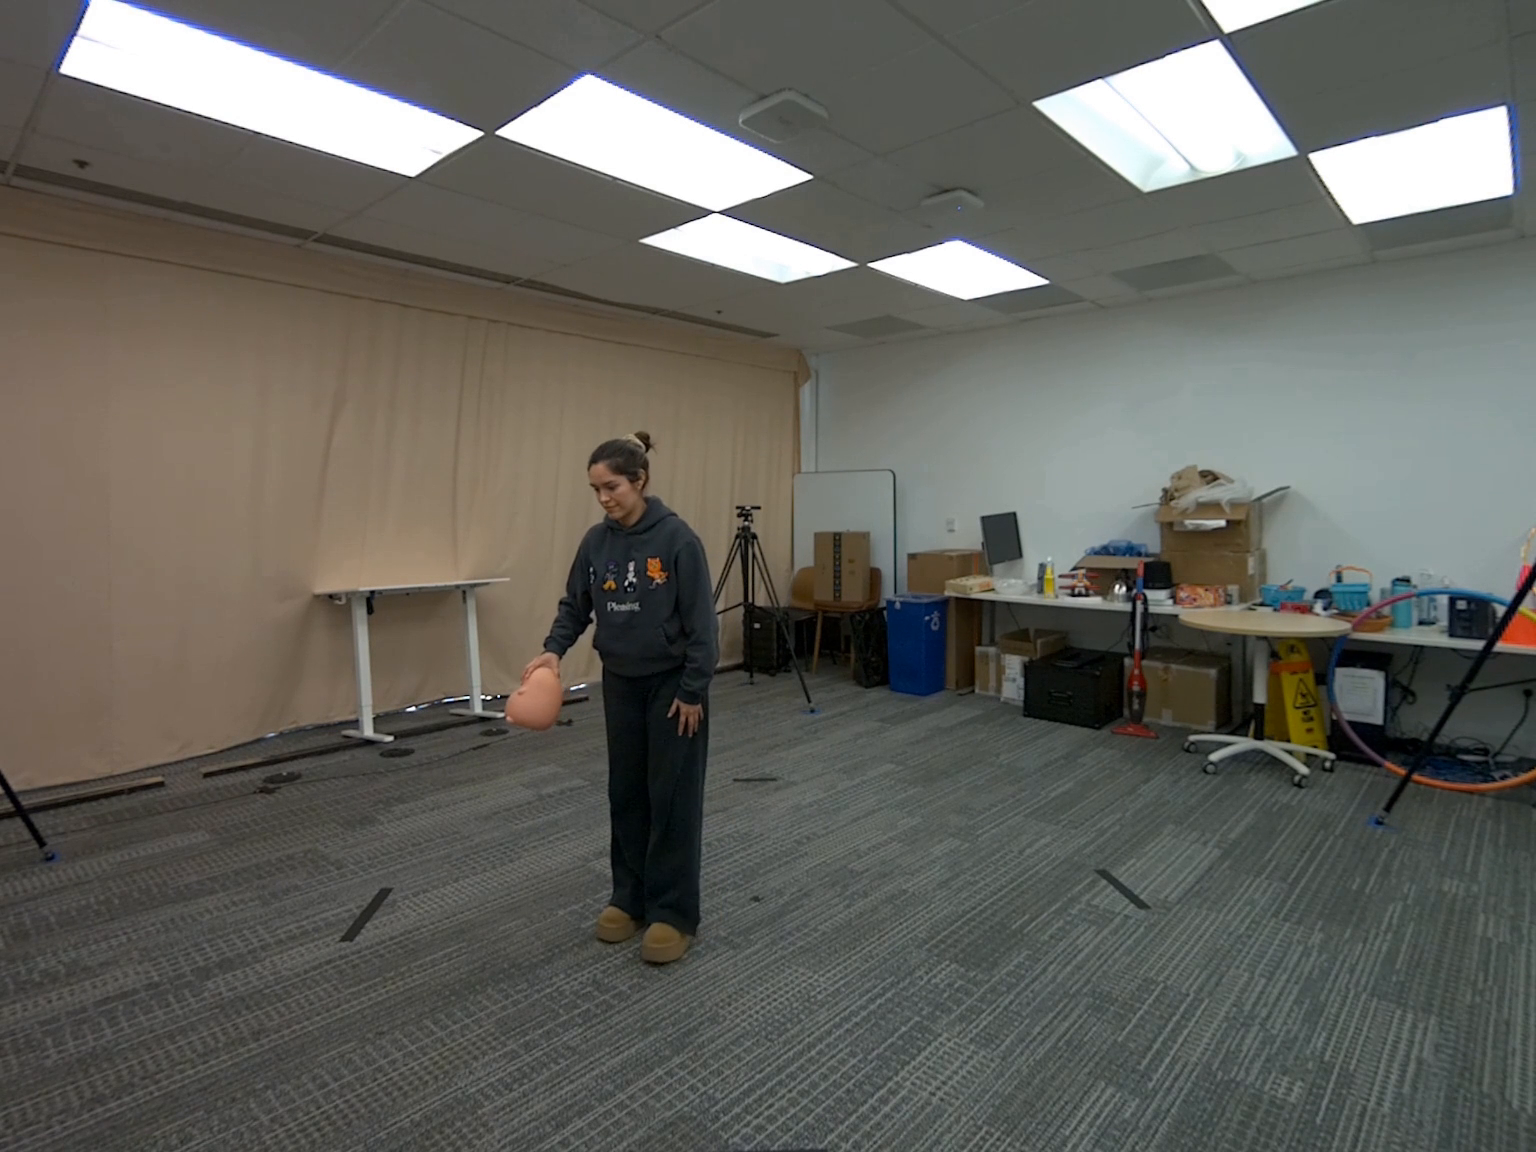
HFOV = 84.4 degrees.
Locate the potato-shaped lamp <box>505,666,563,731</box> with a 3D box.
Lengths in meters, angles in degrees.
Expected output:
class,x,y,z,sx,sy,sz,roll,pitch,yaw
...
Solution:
class,x,y,z,sx,sy,sz,roll,pitch,yaw
potato-shaped lamp,-0.722,0.393,2.687,0.169,0.199,0.166,17,-13,-13
